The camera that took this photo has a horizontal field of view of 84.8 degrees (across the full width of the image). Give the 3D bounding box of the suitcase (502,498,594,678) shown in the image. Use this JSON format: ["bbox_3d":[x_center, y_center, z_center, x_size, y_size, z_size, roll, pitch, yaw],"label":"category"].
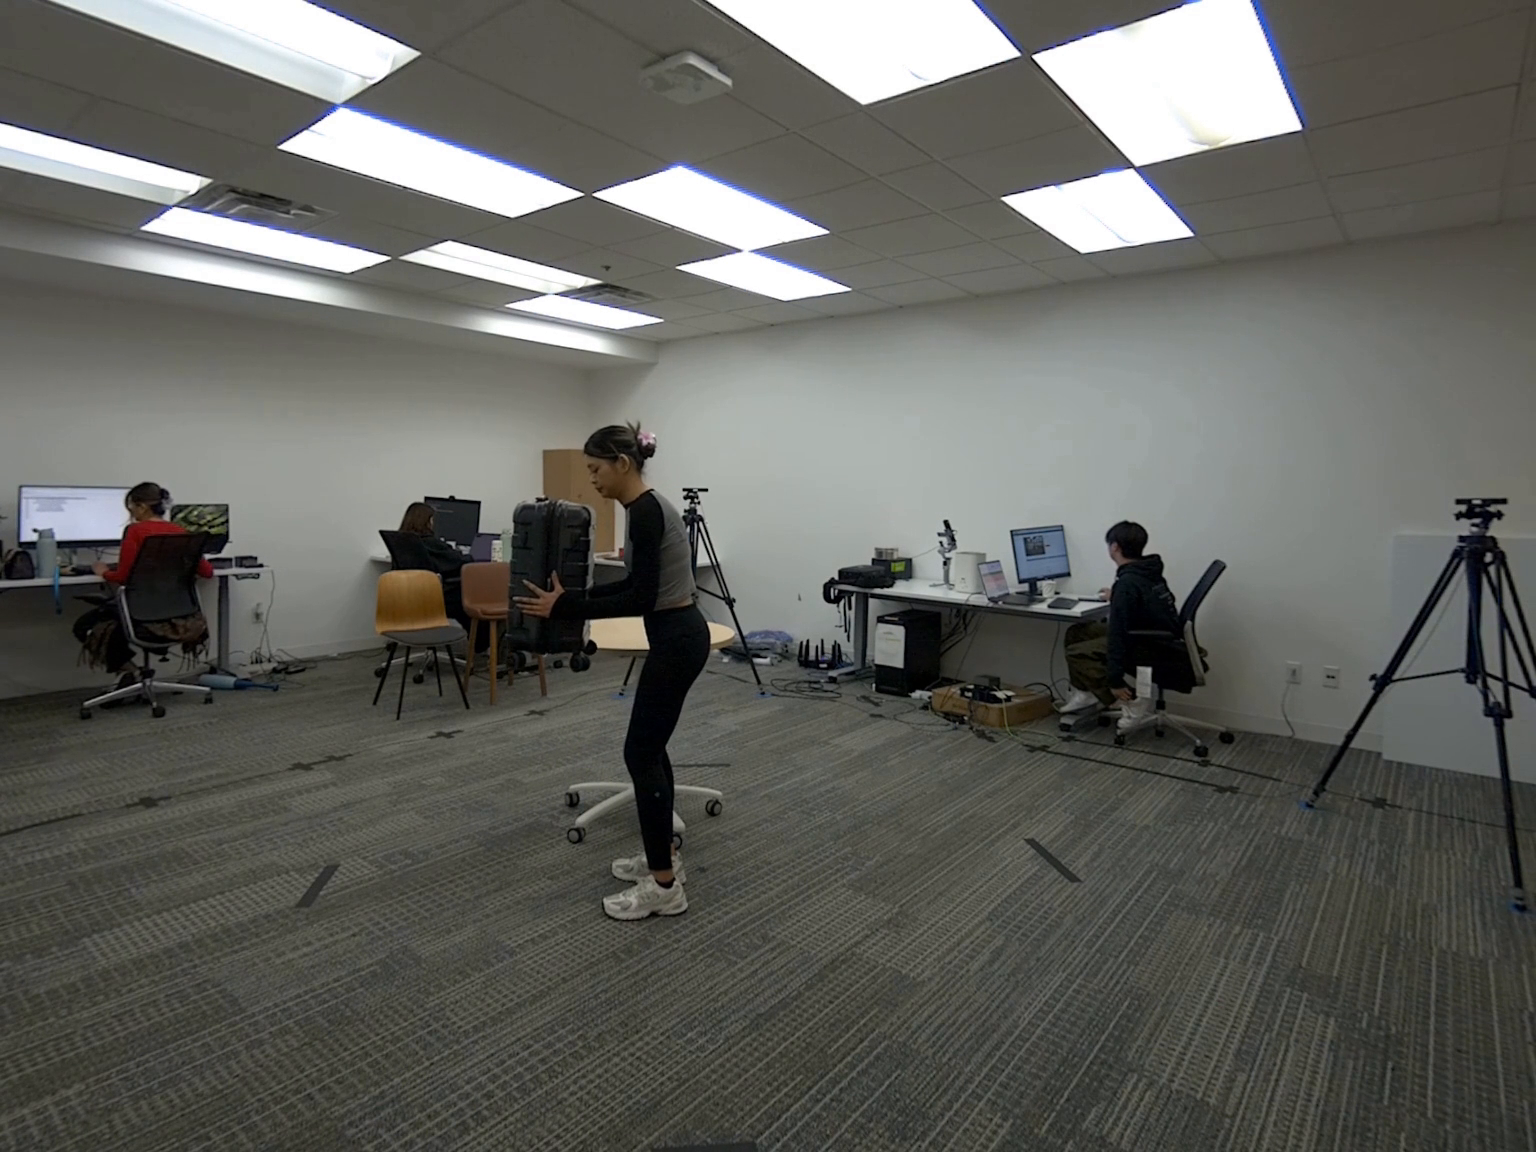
[{"bbox_3d":[-0.739,0.009,2.873,0.246,0.549,0.379,2,2,-8],"label":"suitcase"}]
